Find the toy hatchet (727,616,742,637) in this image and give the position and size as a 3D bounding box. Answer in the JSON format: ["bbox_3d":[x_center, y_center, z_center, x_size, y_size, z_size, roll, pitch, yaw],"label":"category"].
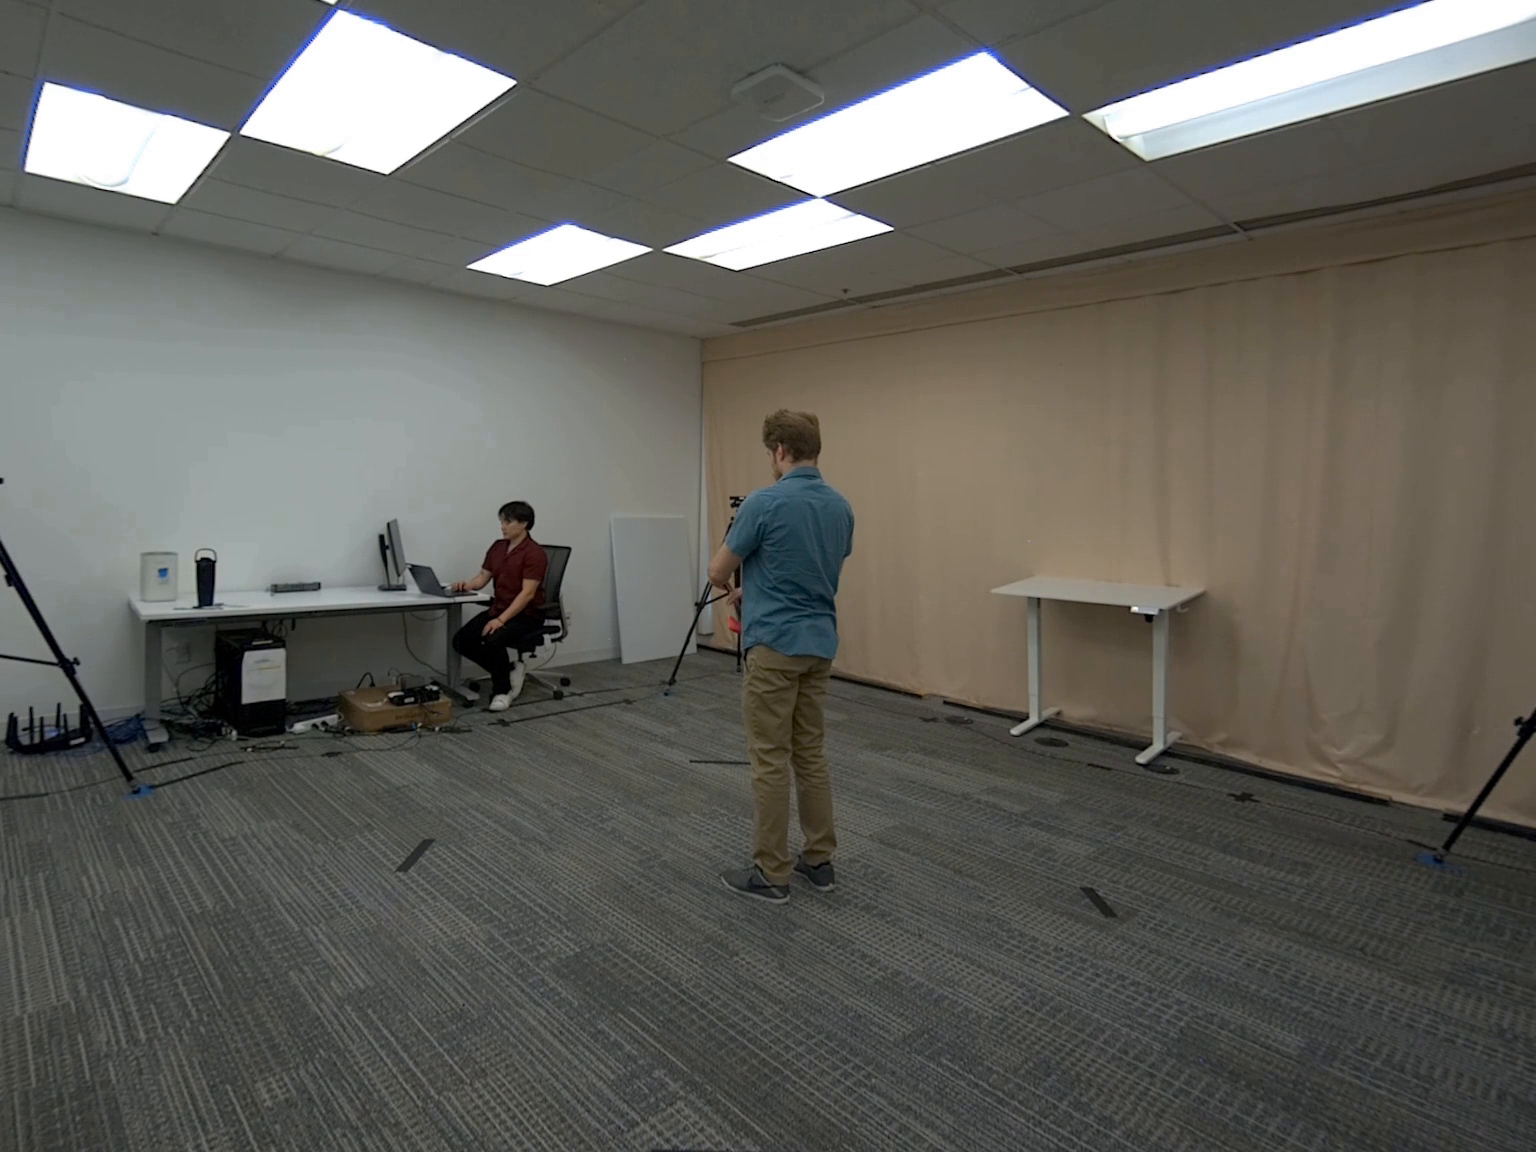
[{"bbox_3d":[-0.151,0.120,3.286,0.128,0.277,0.029,-1,-37,-40],"label":"toy hatchet"}]
